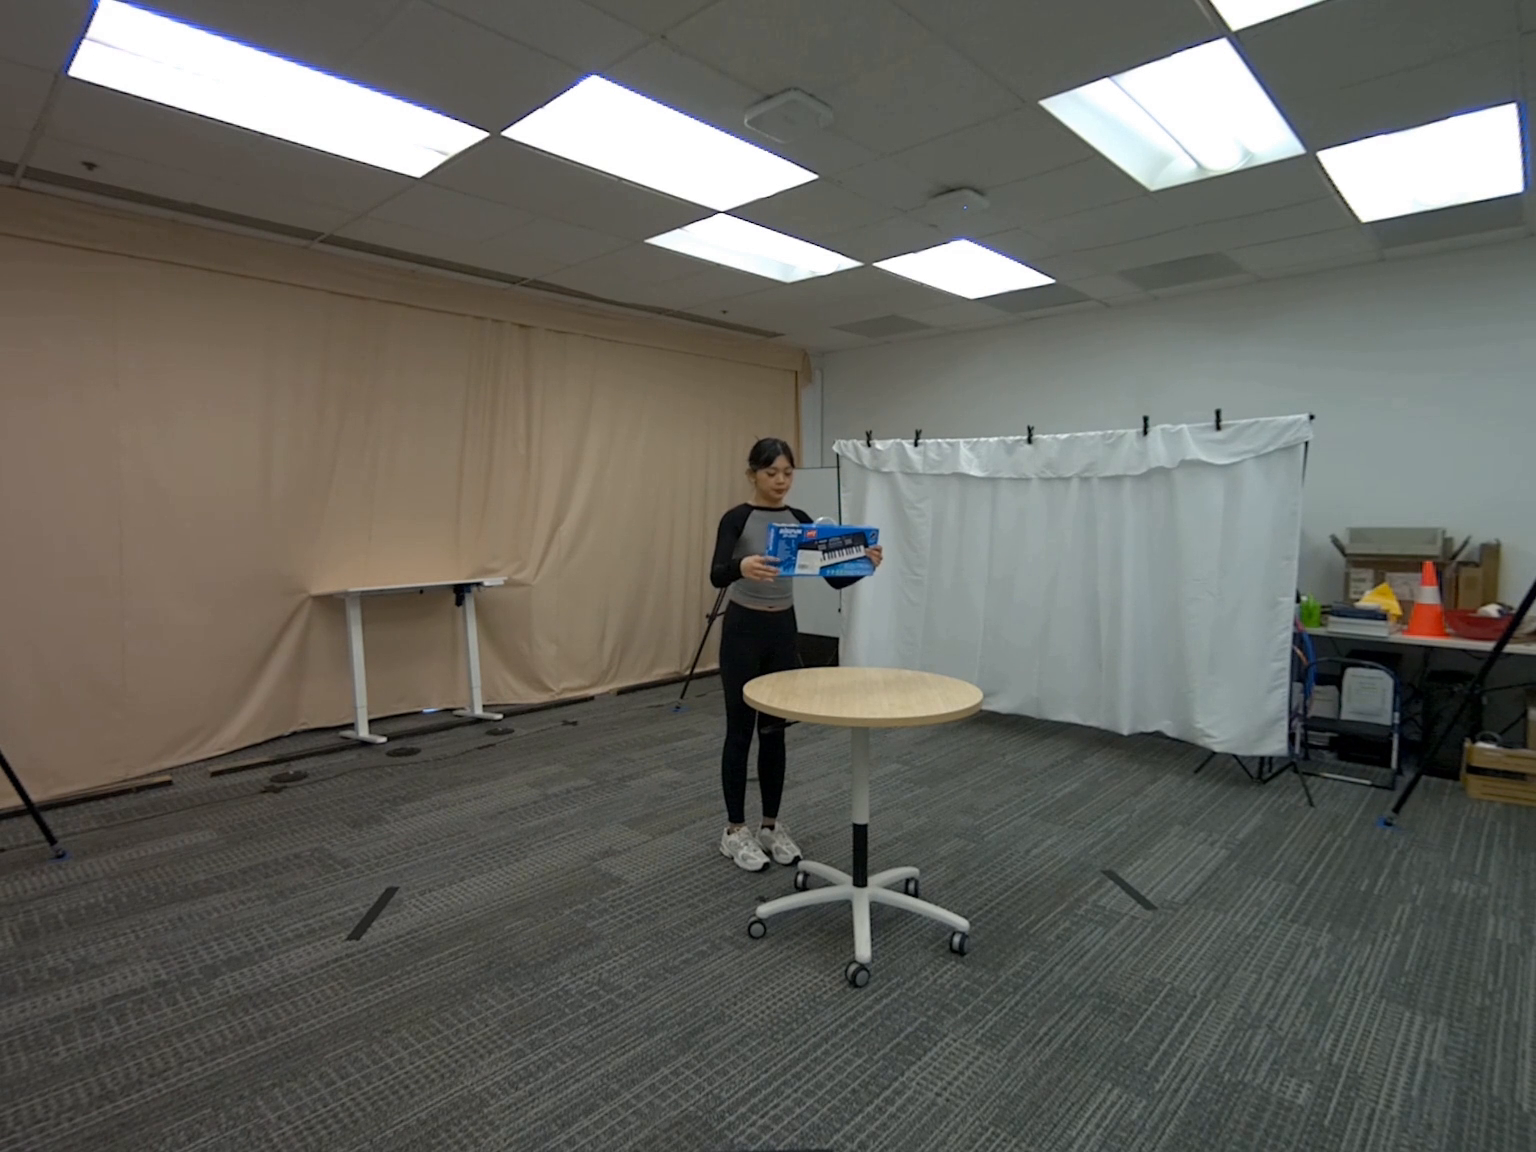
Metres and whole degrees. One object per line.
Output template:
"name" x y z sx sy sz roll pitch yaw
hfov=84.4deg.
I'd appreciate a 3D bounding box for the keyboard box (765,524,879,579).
"keyboard box" 0.186 -0.083 2.908 0.425 0.175 0.061 0 11 -30
